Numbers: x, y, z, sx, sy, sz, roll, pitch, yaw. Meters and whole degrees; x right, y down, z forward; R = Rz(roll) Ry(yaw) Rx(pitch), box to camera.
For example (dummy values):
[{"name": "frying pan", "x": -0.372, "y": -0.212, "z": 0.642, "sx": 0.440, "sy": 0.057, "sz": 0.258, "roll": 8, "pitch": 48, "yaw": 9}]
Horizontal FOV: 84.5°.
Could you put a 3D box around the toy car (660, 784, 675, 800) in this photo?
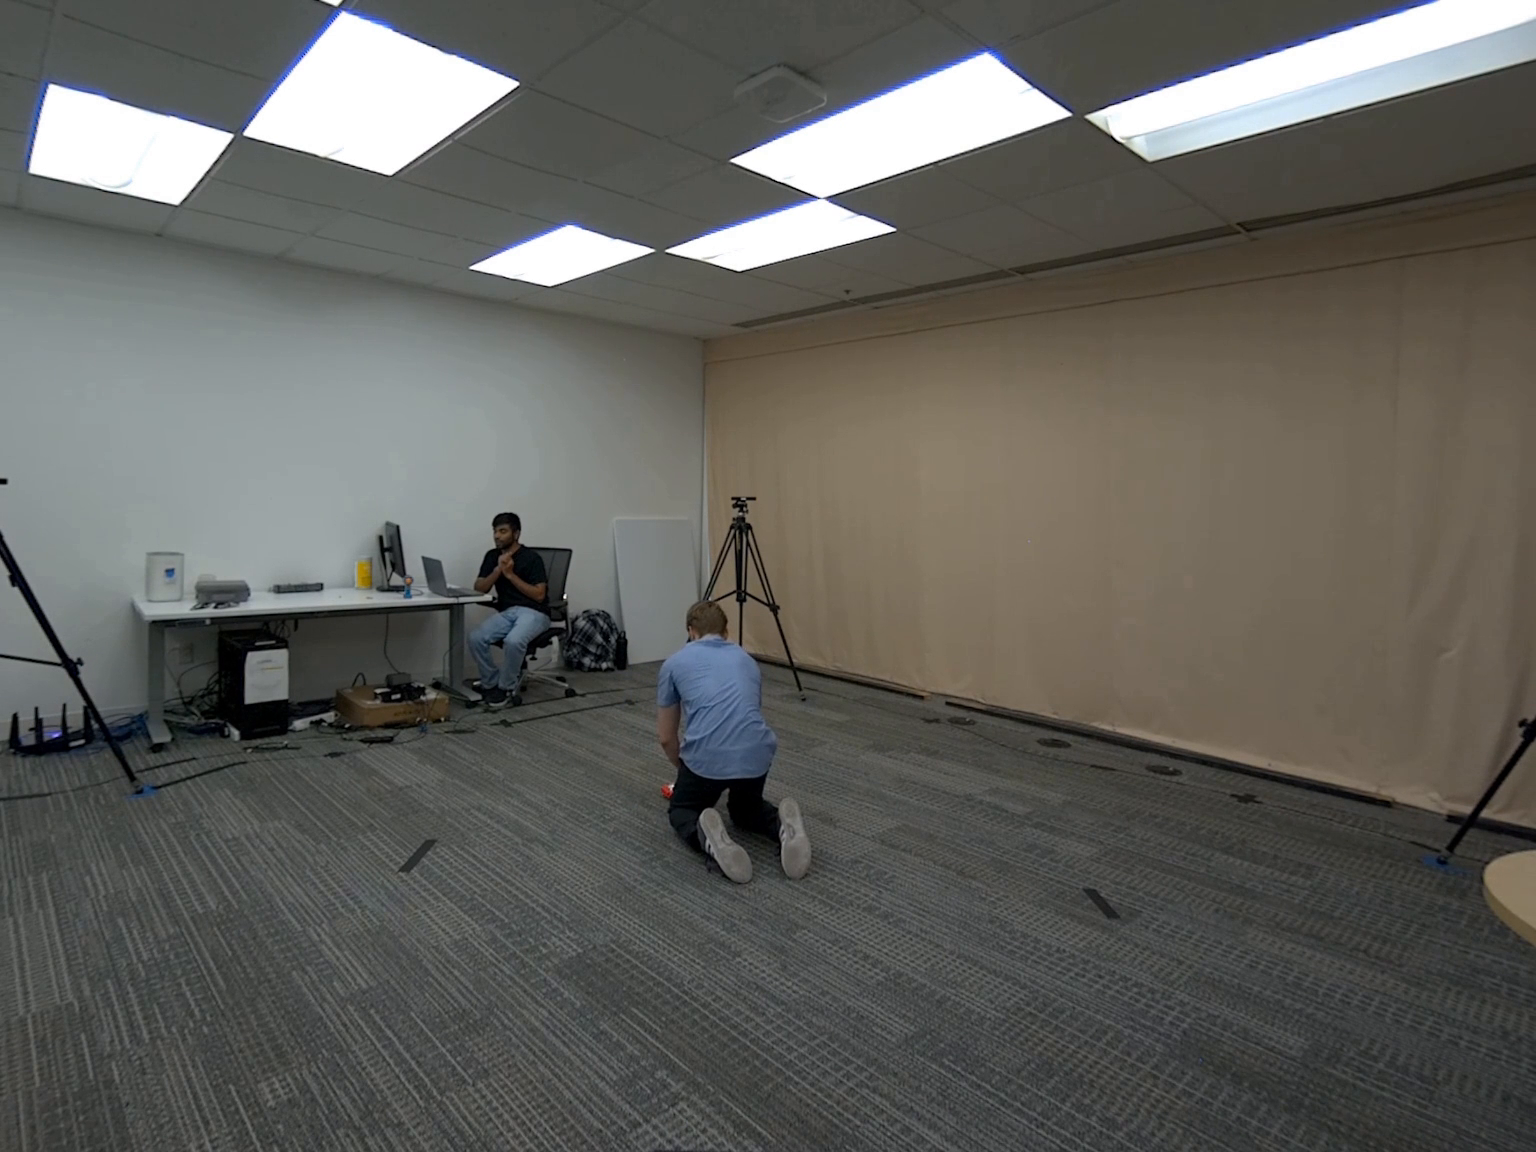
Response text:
[{"name": "toy car", "x": -0.375, "y": 0.999, "z": 3.940, "sx": 0.251, "sy": 0.083, "sz": 0.133, "roll": -12, "pitch": 9, "yaw": -26}]
